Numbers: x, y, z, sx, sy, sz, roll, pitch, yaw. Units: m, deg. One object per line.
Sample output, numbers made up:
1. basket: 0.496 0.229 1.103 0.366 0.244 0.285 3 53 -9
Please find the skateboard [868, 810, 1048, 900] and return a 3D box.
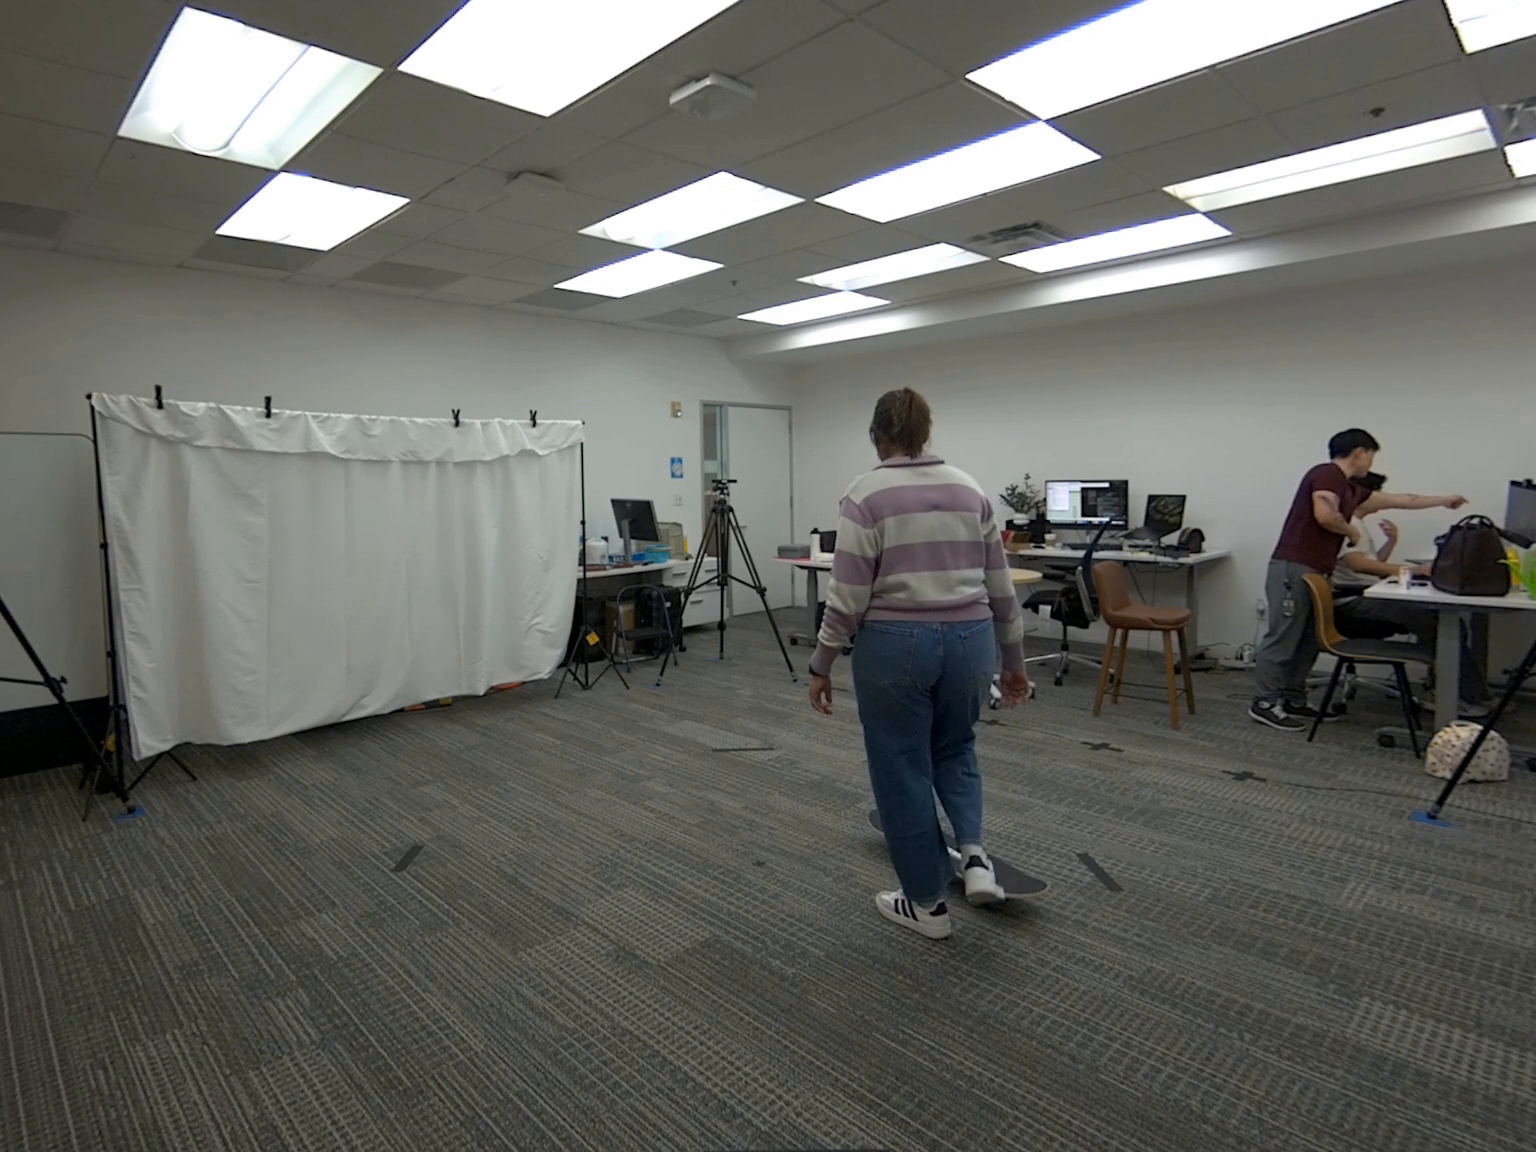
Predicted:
1. skateboard: 0.638 0.993 2.982 0.189 0.110 0.808 -4 7 -30
